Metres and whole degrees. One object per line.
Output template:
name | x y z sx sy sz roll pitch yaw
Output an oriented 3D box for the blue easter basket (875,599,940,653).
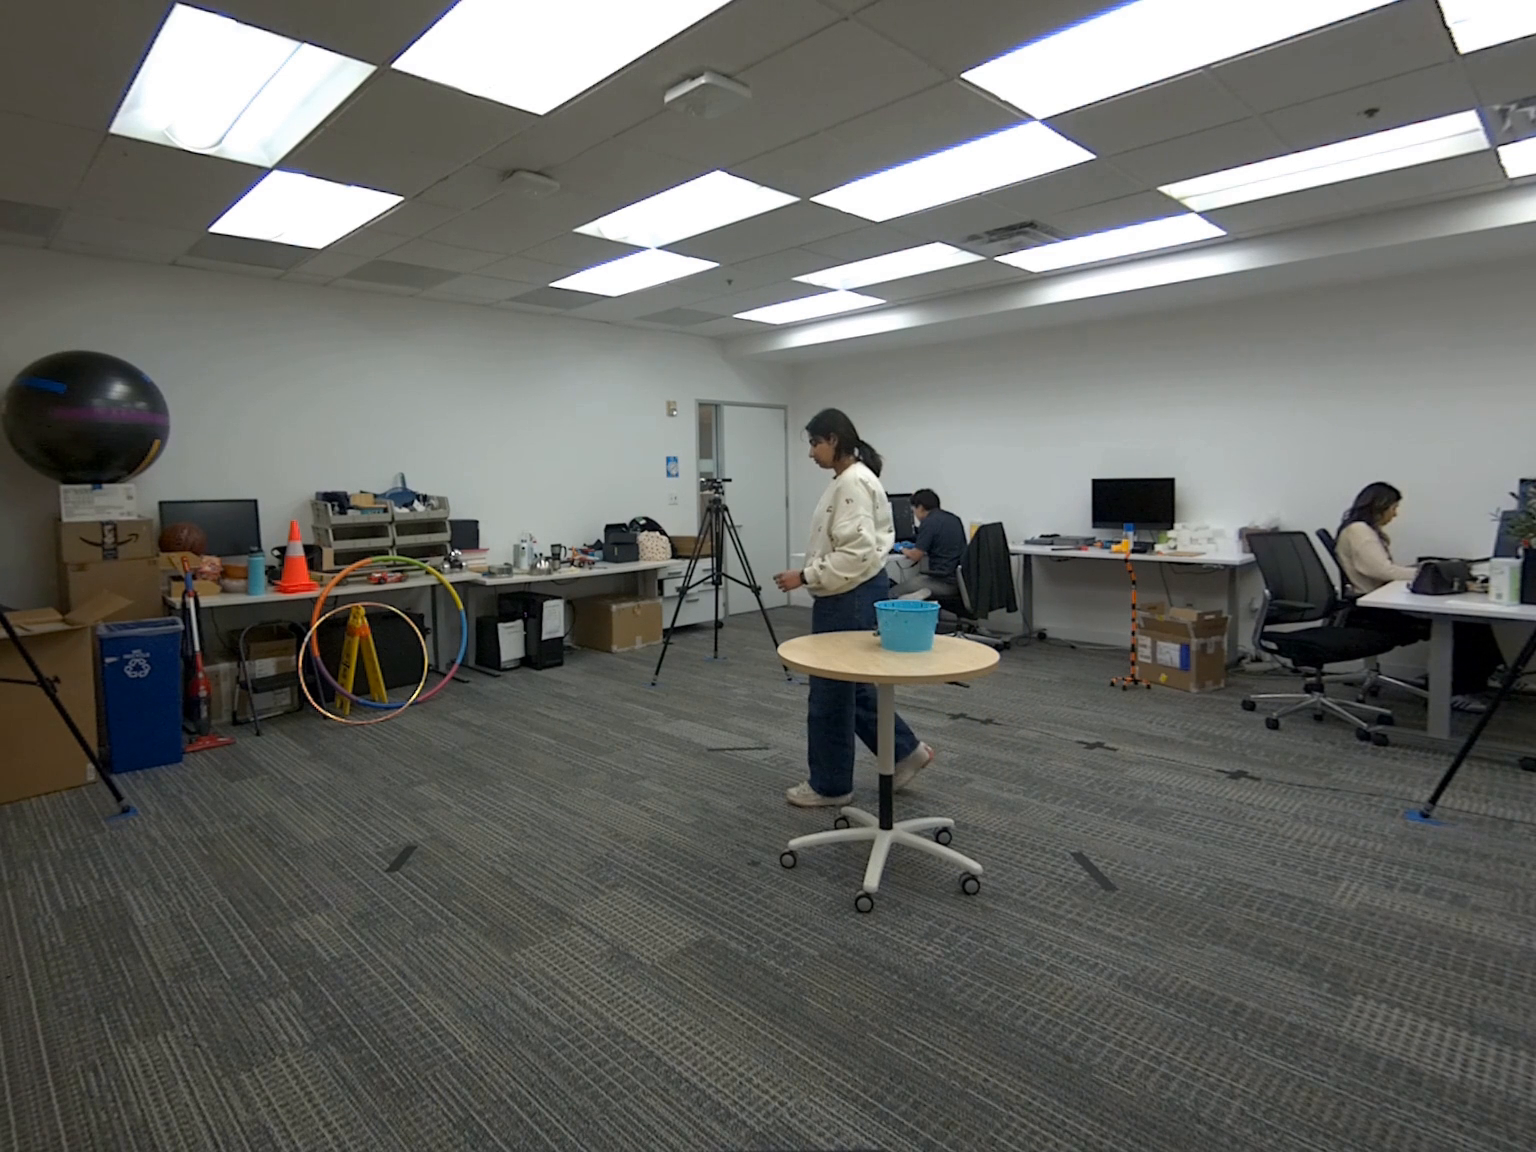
blue easter basket | 0.505 0.186 3.089 0.243 0.155 0.245 1 6 -2
